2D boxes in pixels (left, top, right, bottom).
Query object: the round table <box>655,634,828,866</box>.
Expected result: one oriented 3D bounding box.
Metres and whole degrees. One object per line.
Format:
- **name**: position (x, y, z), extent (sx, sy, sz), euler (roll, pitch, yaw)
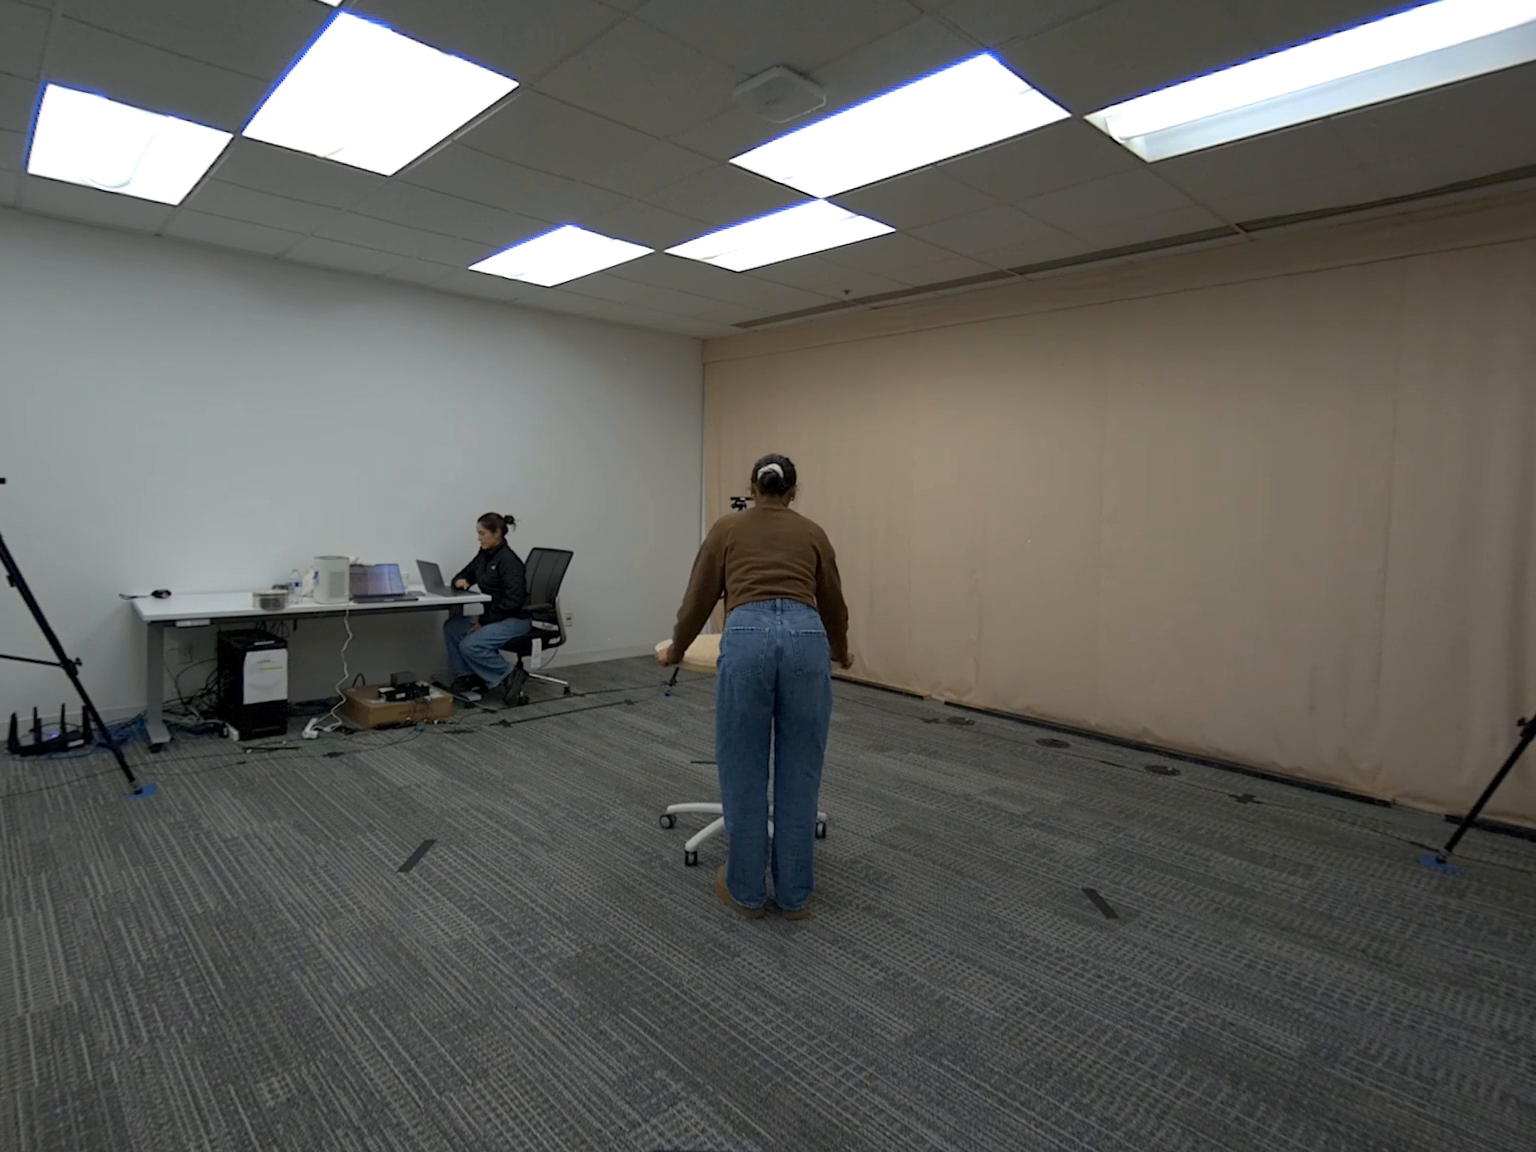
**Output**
- **round table**: position (-0.083, 0.692, 3.415), extent (0.763, 0.792, 0.767), euler (2, 4, -1)
